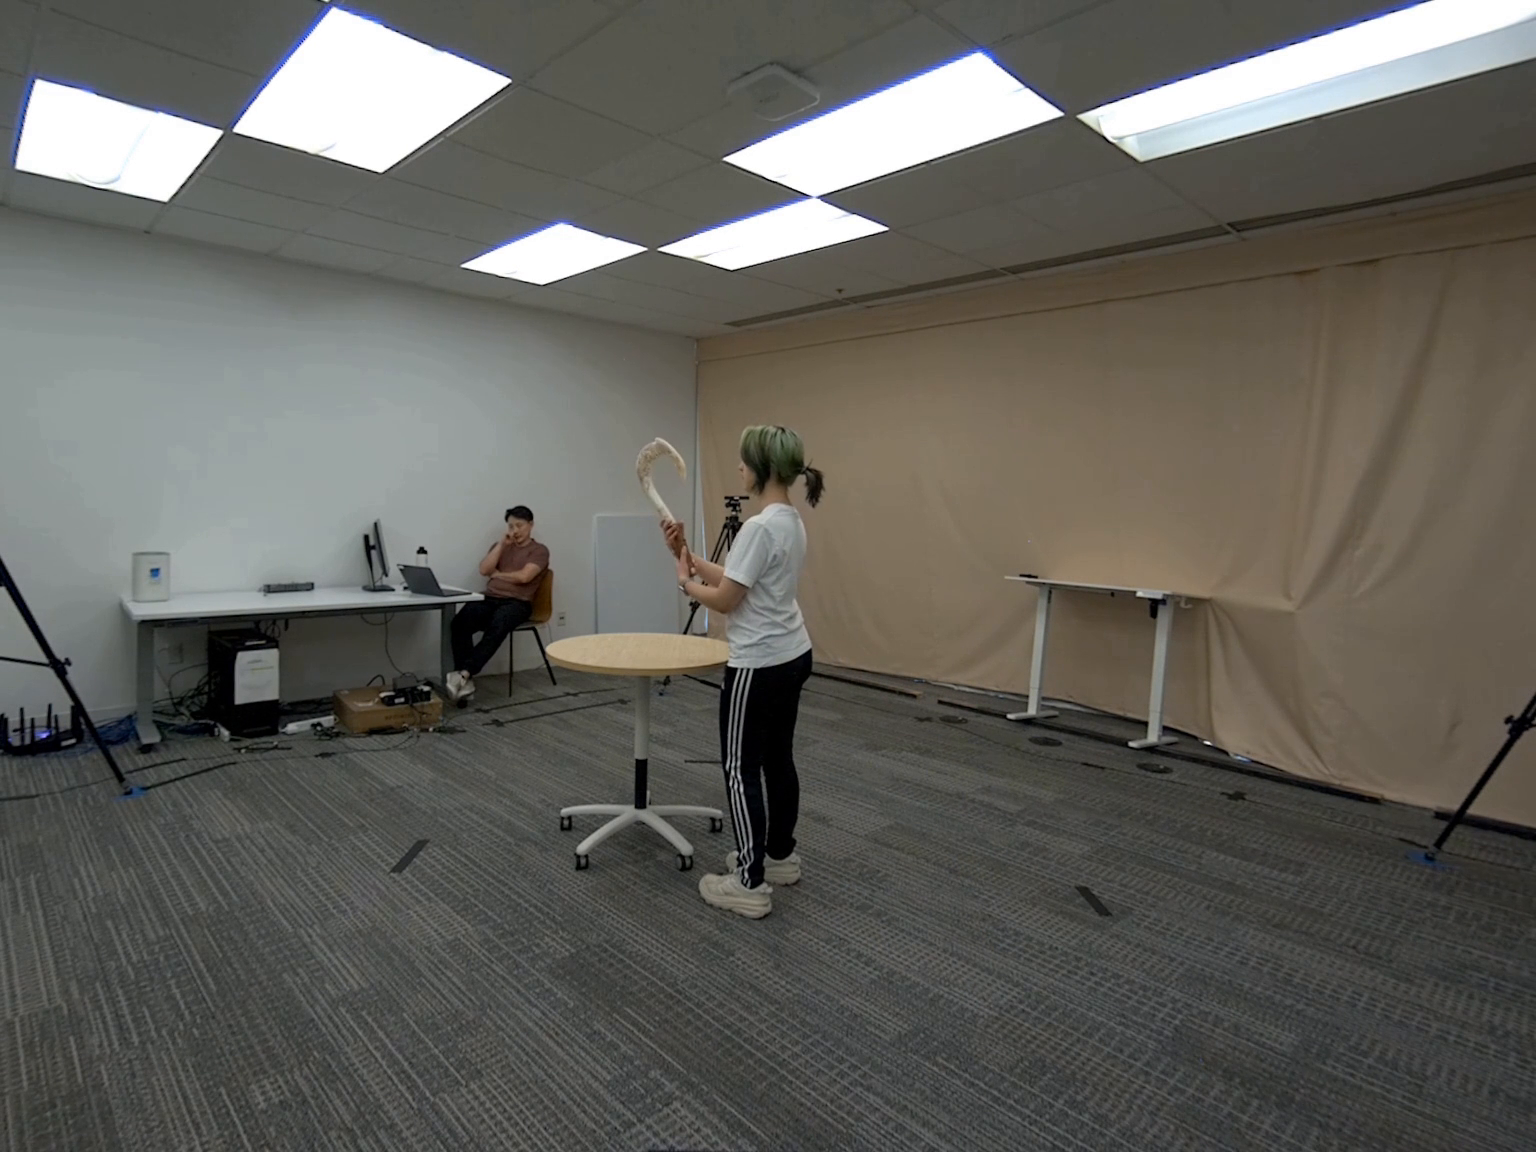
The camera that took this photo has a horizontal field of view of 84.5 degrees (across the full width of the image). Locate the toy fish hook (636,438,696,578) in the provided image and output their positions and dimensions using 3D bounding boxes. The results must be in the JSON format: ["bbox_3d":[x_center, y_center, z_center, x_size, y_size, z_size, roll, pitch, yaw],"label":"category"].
[{"bbox_3d":[-0.336,-0.245,3.014,0.226,0.511,0.047,-30,-10,37],"label":"toy fish hook"}]
